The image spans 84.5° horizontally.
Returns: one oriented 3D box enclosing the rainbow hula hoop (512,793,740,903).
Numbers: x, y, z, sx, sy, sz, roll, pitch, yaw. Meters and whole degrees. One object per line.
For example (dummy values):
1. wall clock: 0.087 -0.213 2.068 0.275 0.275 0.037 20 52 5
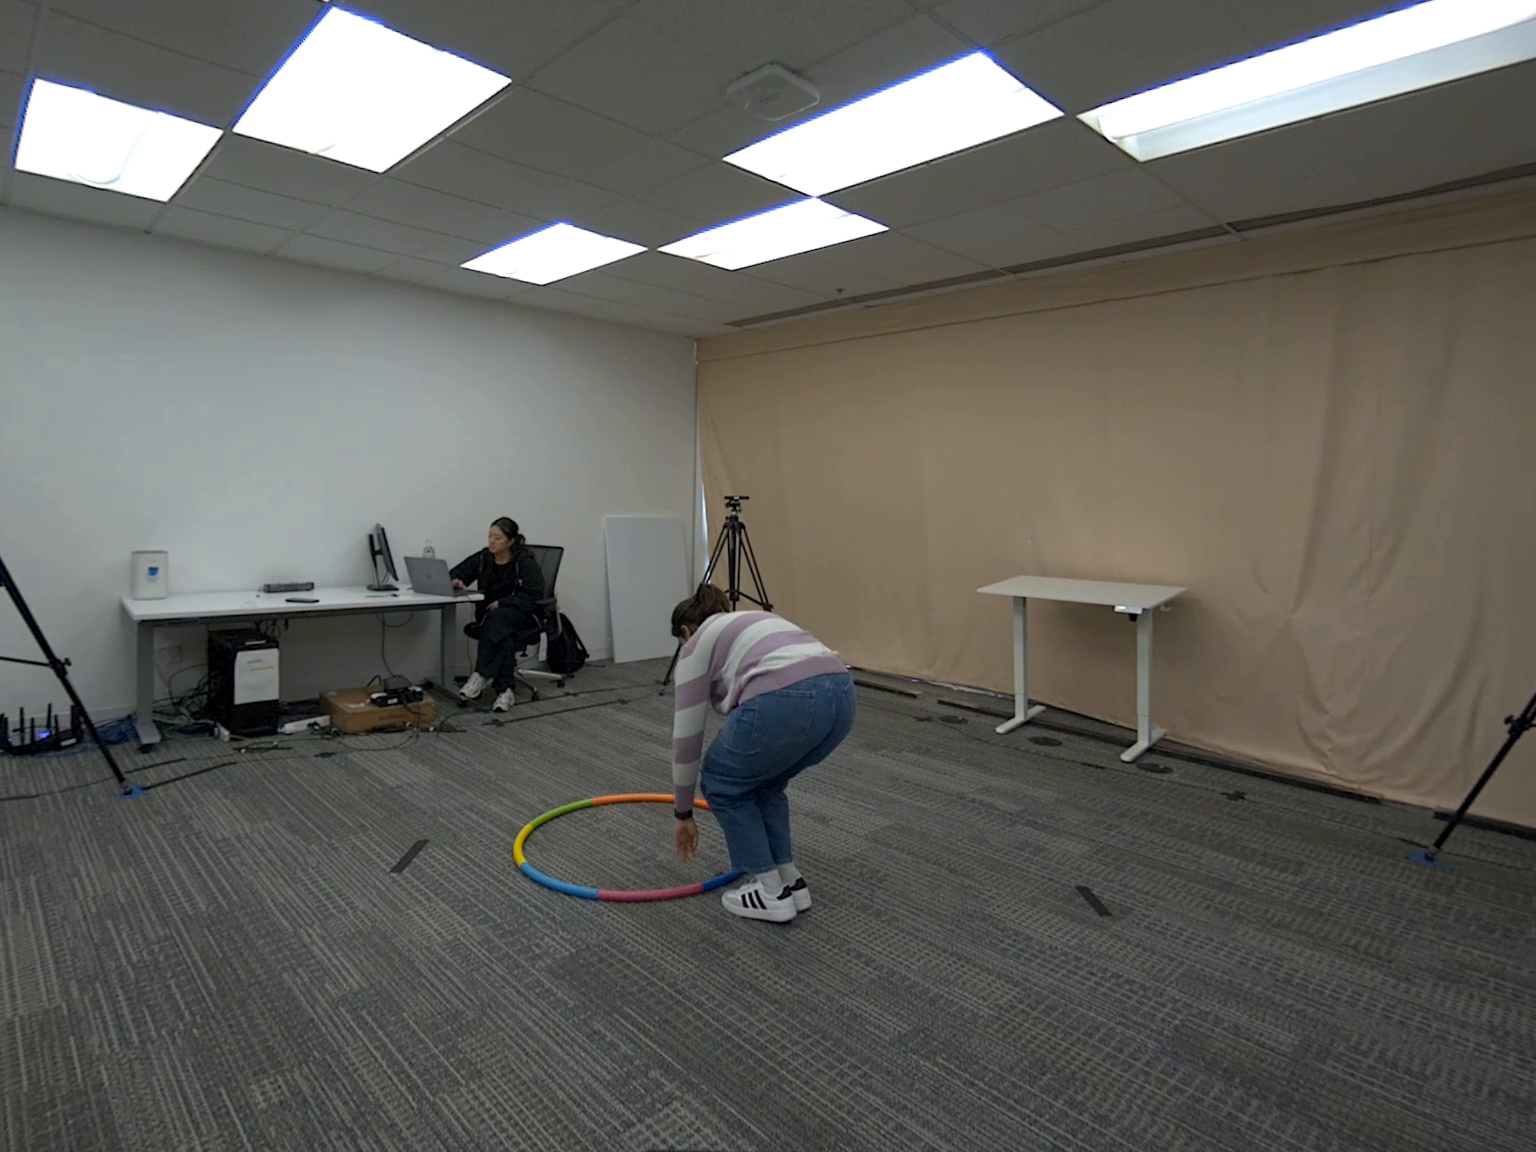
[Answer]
1. rainbow hula hoop: -0.515 1.043 3.369 0.978 0.035 0.982 2 5 -1
